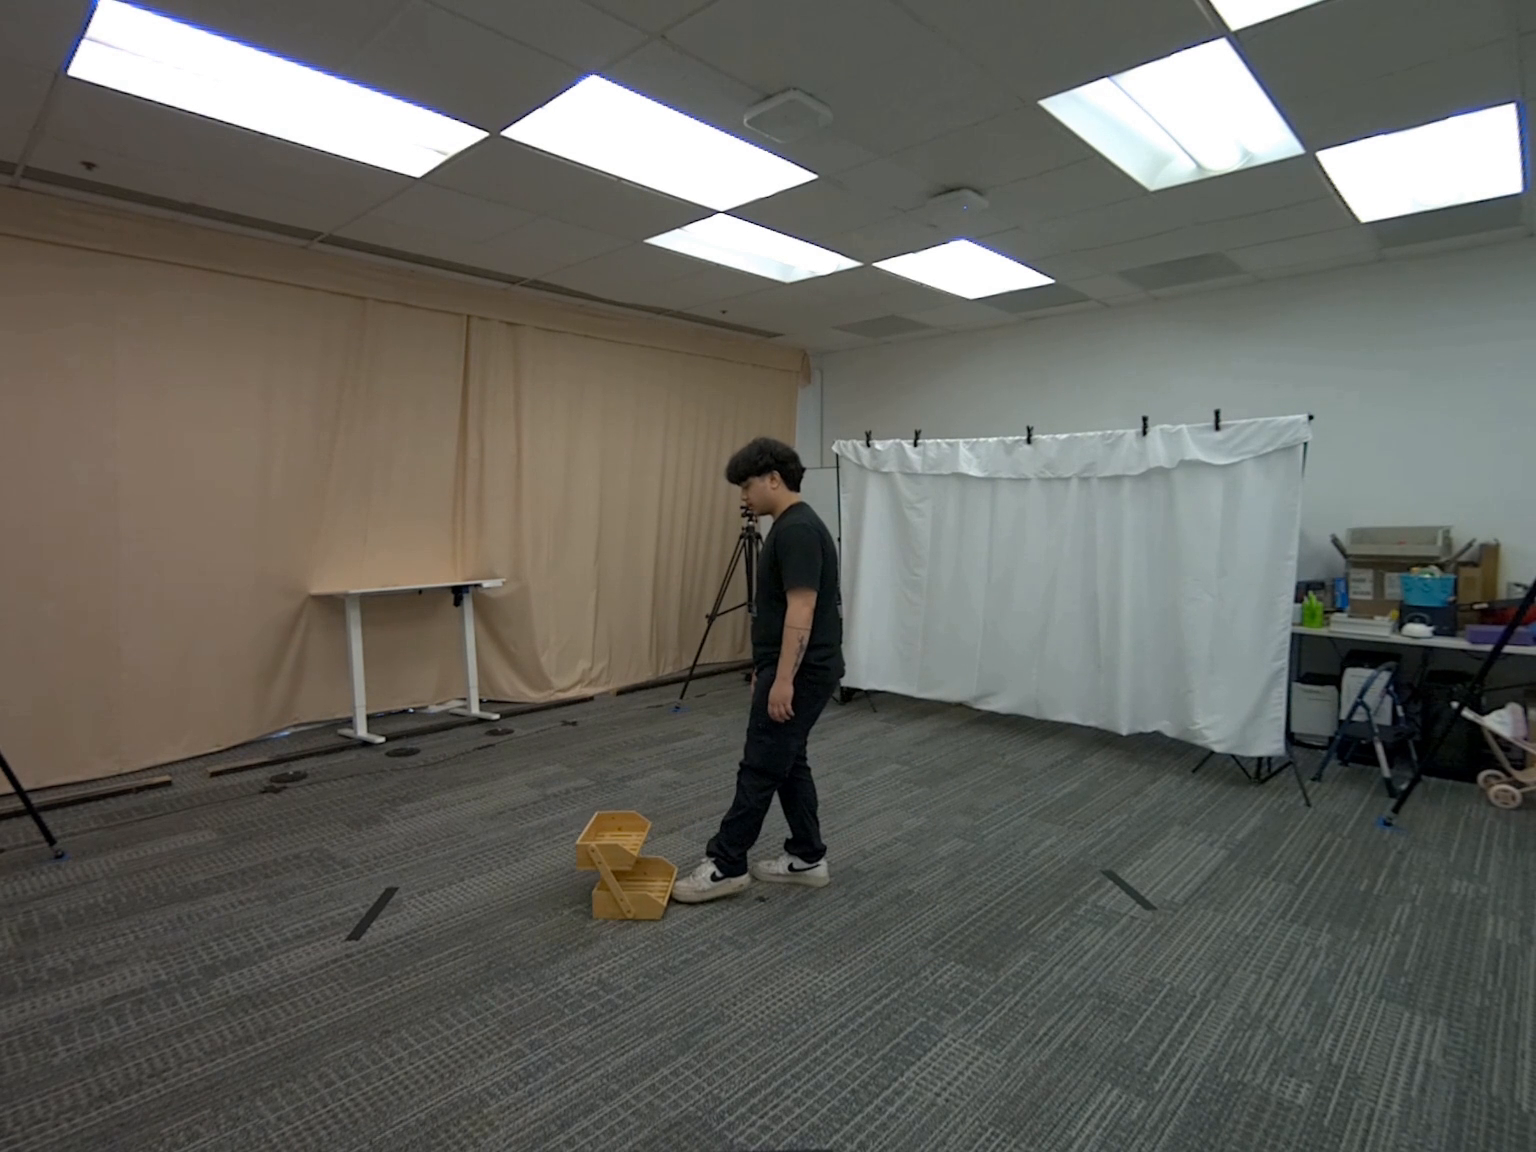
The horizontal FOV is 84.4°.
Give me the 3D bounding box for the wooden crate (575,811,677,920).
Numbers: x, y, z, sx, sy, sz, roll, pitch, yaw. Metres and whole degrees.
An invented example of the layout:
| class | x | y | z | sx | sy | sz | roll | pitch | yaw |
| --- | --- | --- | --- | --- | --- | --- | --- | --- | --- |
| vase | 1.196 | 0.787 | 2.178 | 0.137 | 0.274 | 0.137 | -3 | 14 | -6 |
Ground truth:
| class | x | y | z | sx | sy | sz | roll | pitch | yaw |
| --- | --- | --- | --- | --- | --- | --- | --- | --- | --- |
| wooden crate | -0.481 | 1.014 | 2.984 | 0.303 | 0.273 | 0.324 | -2 | 4 | 3 |
